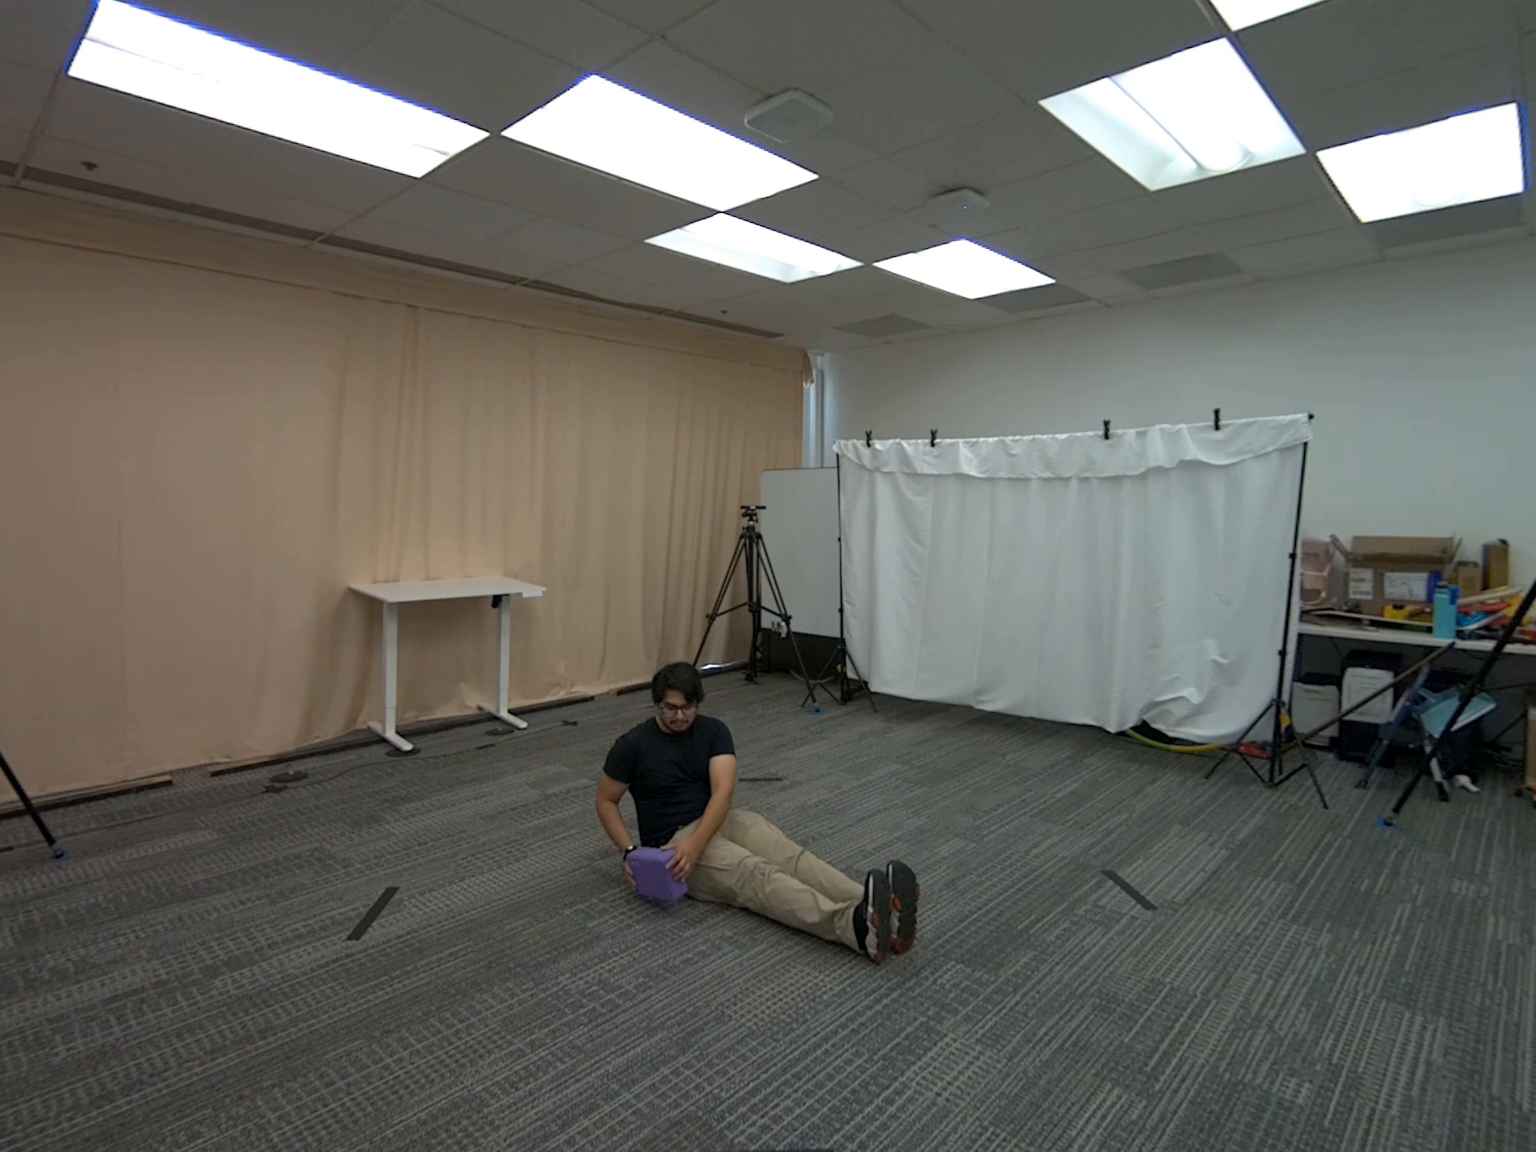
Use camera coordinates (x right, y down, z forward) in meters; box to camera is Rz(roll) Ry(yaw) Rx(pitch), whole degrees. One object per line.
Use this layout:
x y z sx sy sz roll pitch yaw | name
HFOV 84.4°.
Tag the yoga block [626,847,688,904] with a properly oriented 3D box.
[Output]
-0.379 1.019 2.905 0.074 0.149 0.235 -18 2 -41 | yoga block
